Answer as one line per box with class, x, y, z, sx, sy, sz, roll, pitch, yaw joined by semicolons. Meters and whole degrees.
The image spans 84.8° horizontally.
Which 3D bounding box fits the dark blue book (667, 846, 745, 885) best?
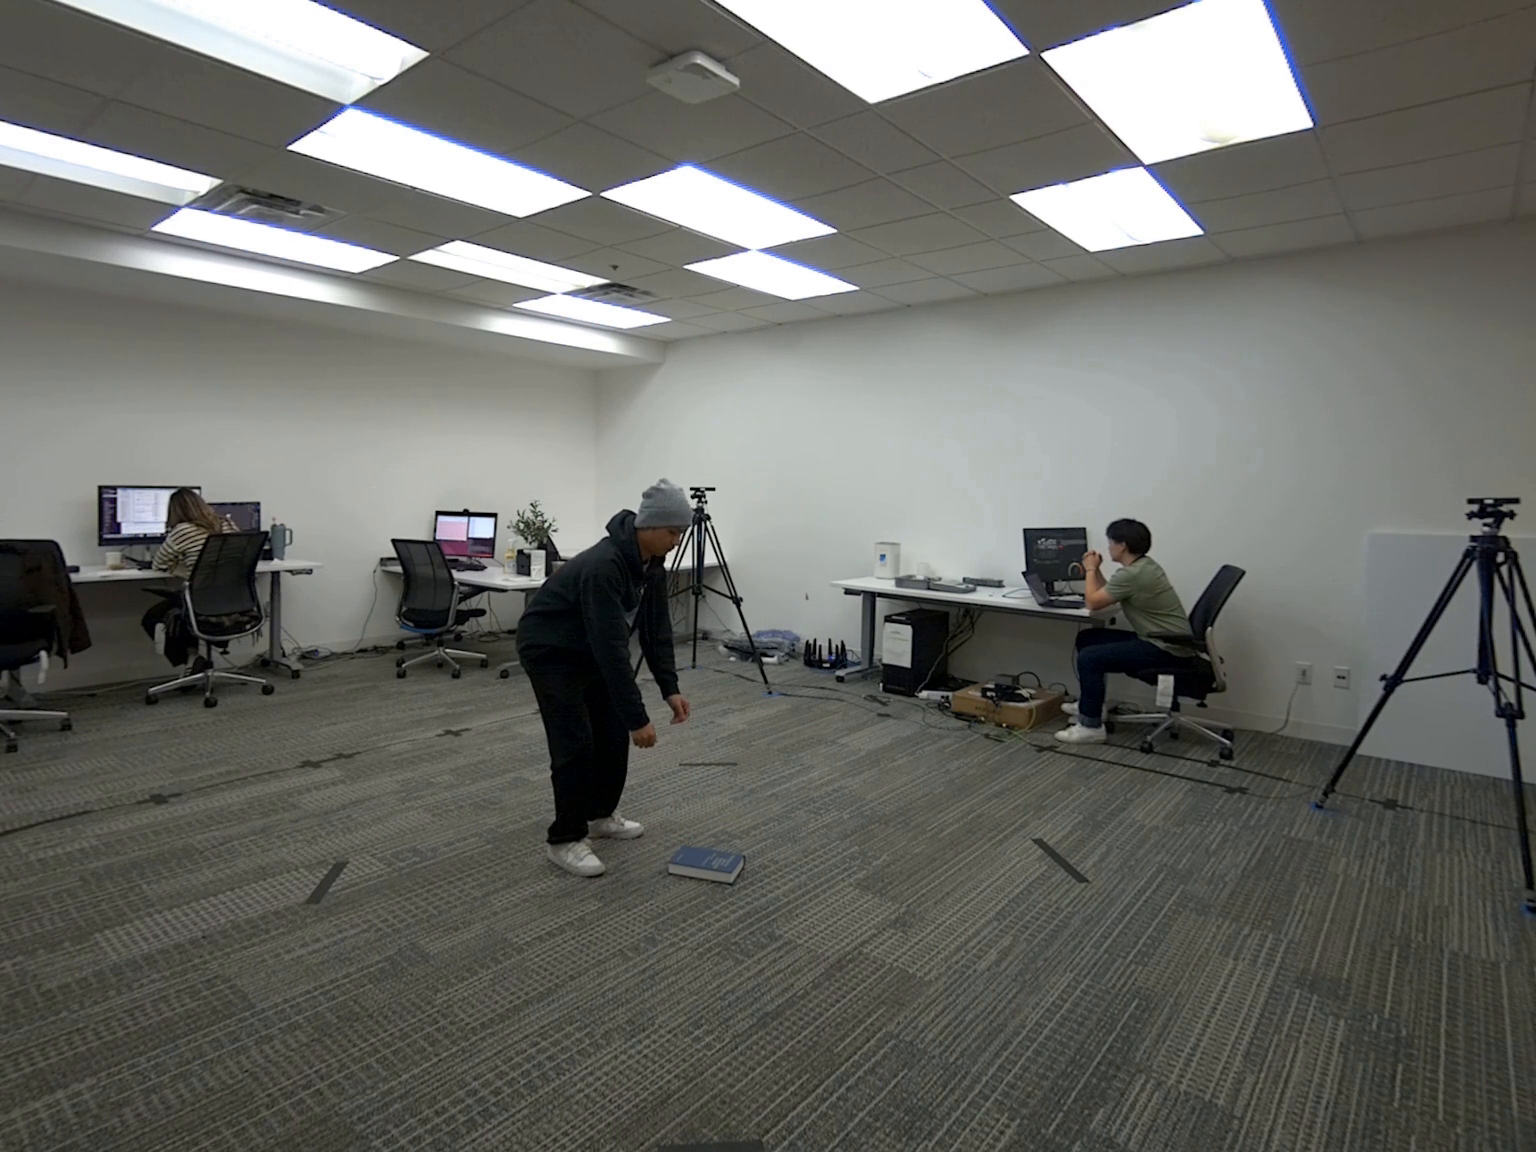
dark blue book;-0.233;1.041;3.089;0.250;0.045;0.161;3;6;17
